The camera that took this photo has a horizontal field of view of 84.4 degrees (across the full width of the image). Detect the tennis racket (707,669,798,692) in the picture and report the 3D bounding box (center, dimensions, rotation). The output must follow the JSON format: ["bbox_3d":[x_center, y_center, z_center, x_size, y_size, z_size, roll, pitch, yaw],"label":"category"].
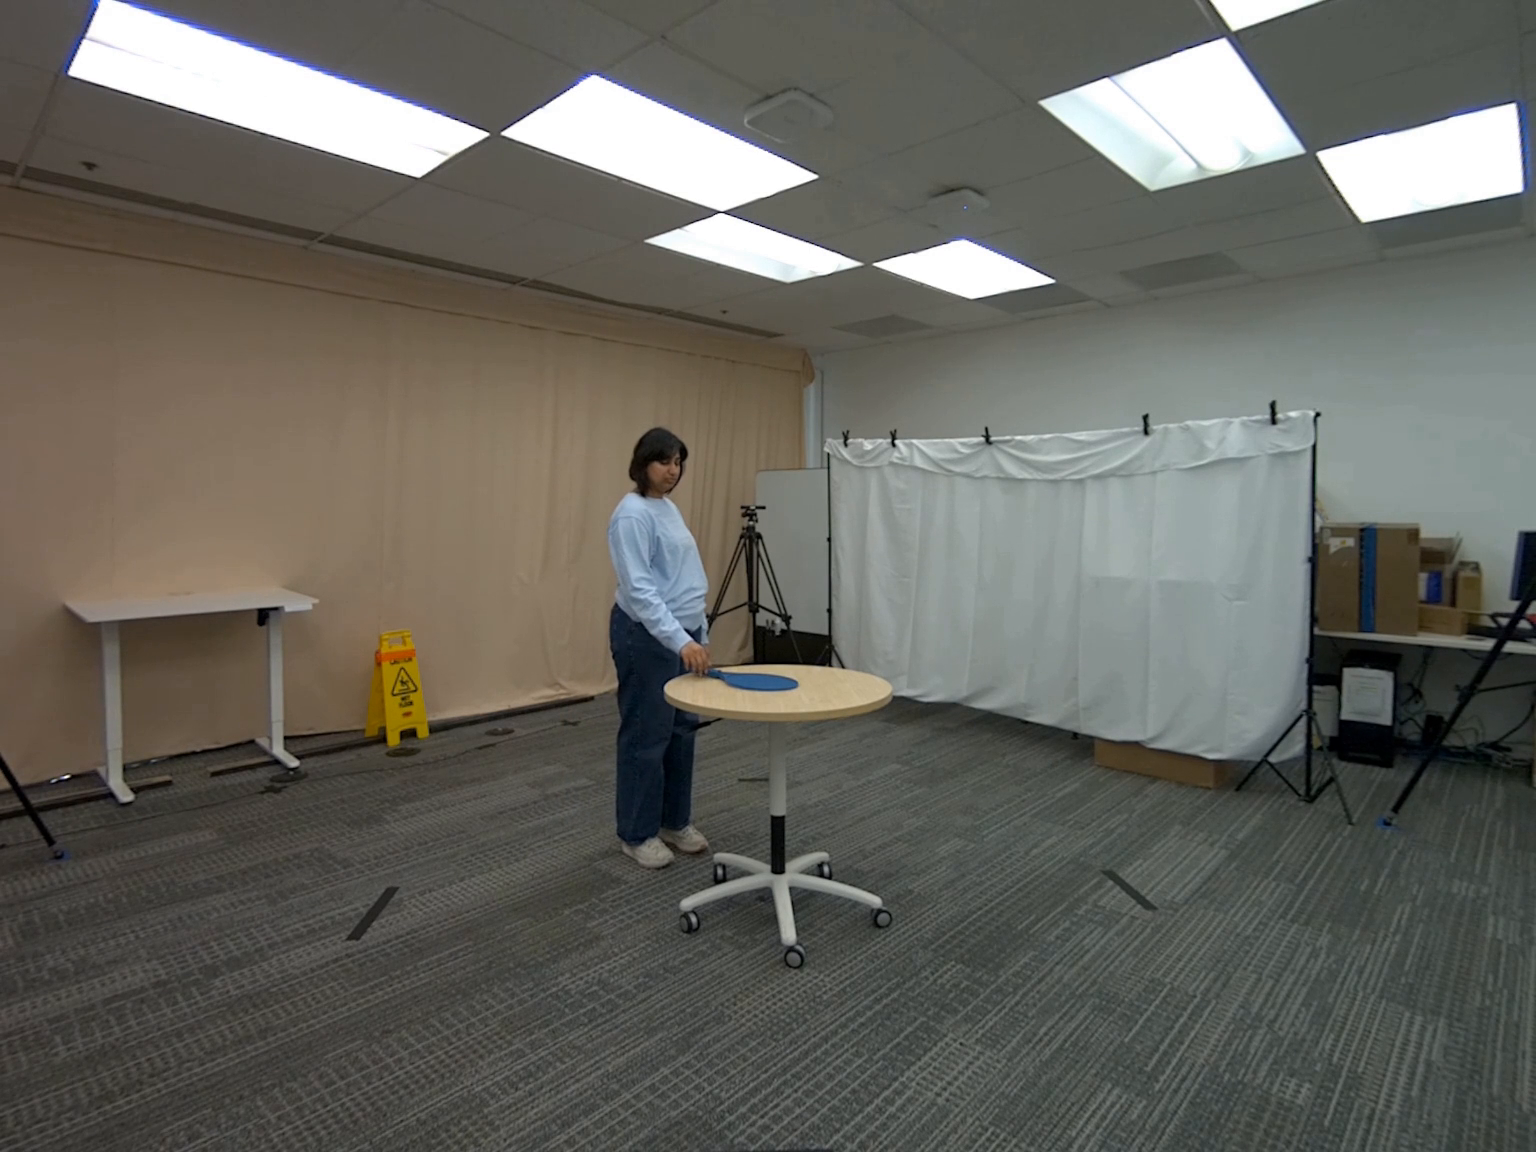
[{"bbox_3d":[-0.084,0.360,2.922,0.447,0.031,0.207,4,7,37],"label":"tennis racket"}]
